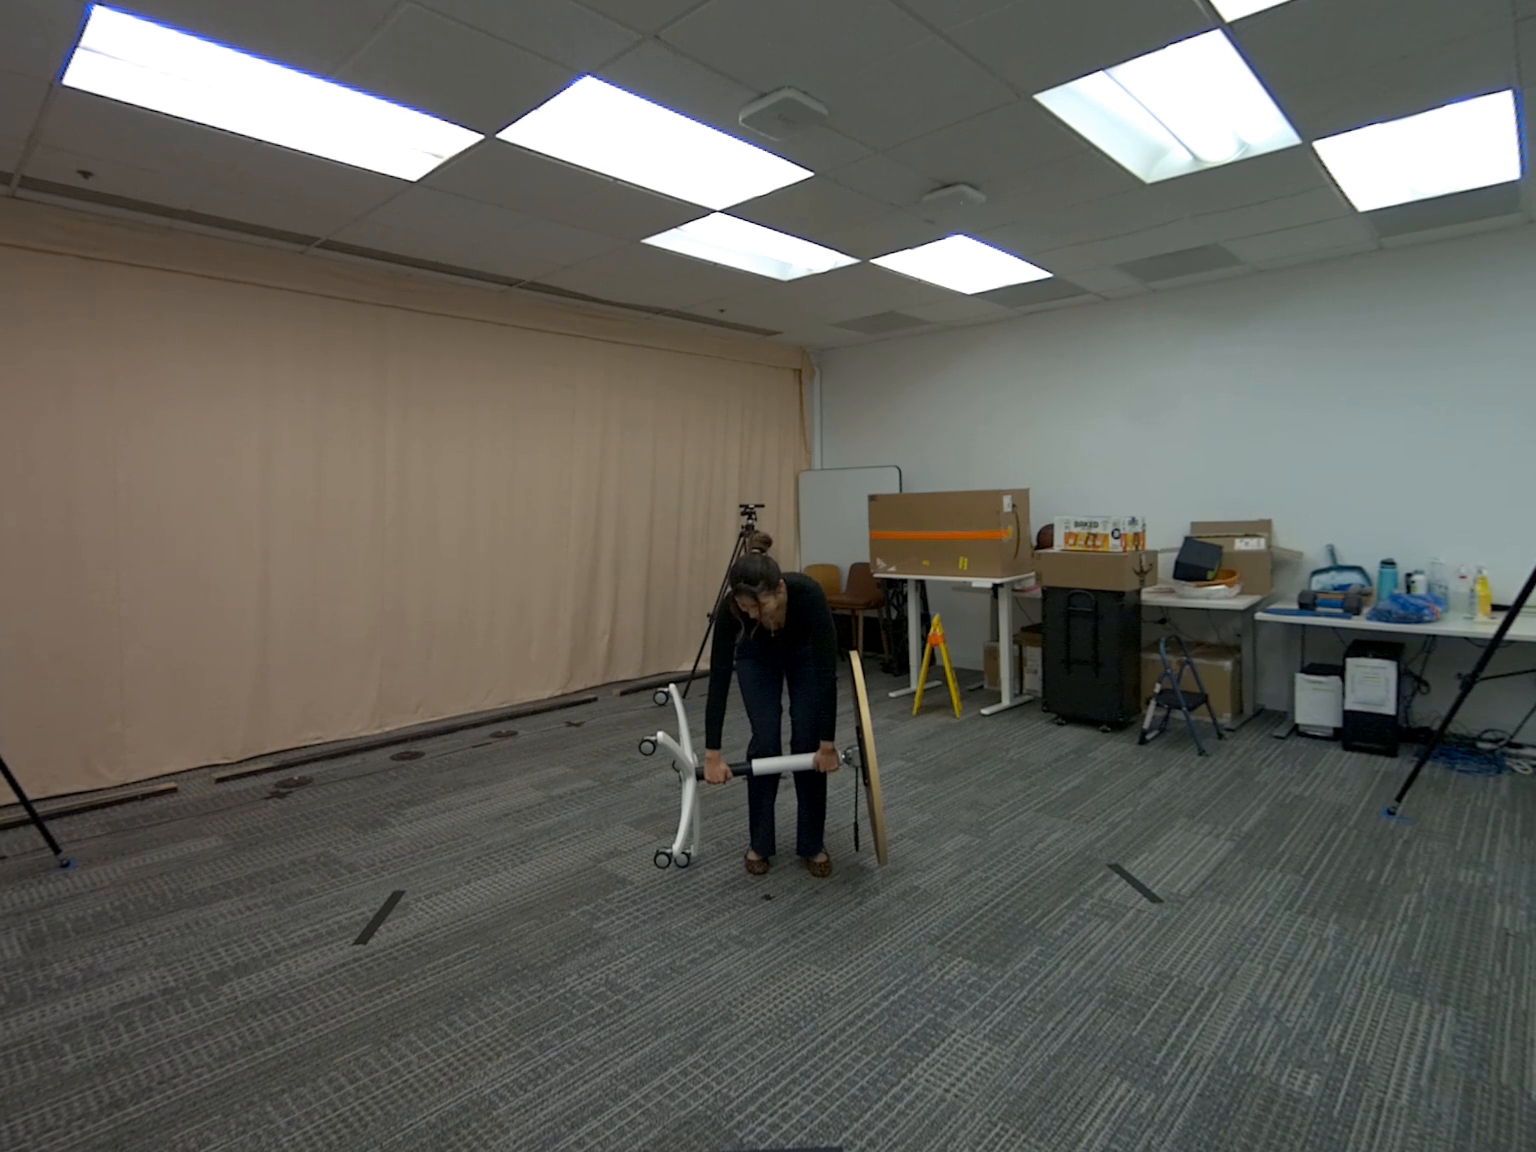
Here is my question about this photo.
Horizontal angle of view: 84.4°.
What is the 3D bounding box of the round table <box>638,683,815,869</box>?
[{"bbox_3d":[-0.016,0.709,3.133,0.797,0.762,0.763,-7,3,3],"label":"round table"}]
